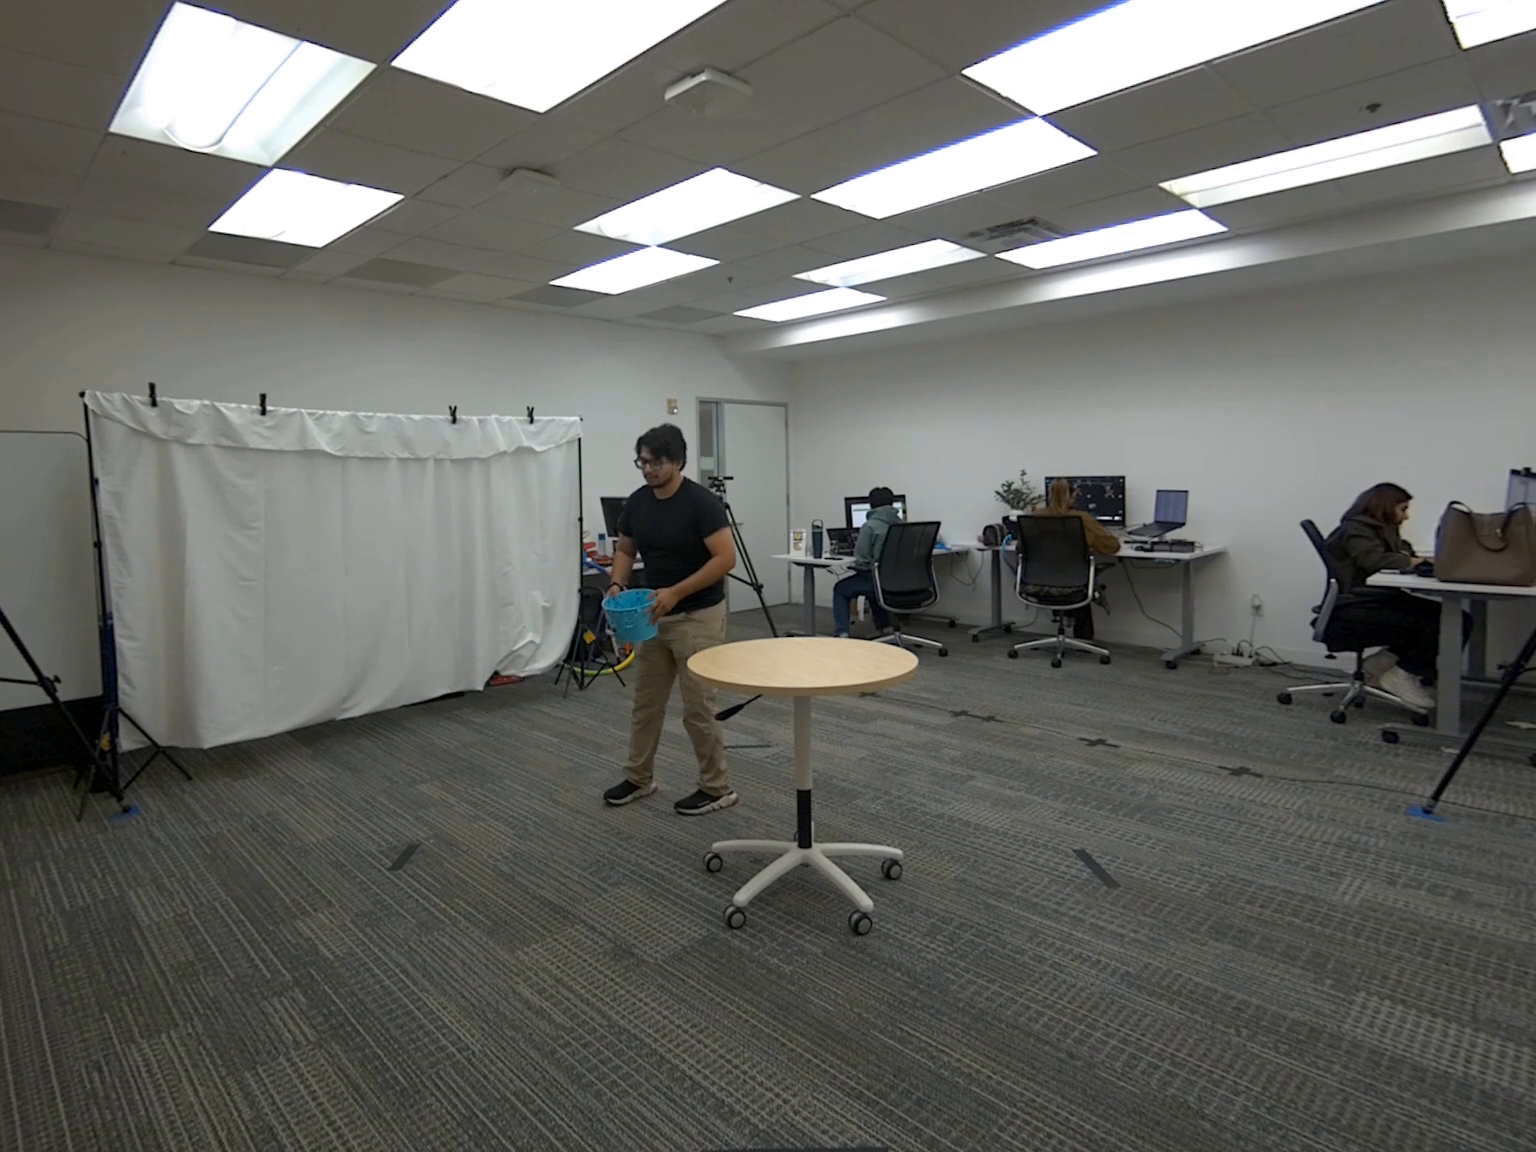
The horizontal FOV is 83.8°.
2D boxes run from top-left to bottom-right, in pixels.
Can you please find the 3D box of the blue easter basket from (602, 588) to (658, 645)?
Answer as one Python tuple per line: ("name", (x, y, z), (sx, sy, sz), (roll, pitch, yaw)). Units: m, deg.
("blue easter basket", (-0.559, 0.168, 3.486), (0.244, 0.153, 0.247), (-7, 15, 0))
